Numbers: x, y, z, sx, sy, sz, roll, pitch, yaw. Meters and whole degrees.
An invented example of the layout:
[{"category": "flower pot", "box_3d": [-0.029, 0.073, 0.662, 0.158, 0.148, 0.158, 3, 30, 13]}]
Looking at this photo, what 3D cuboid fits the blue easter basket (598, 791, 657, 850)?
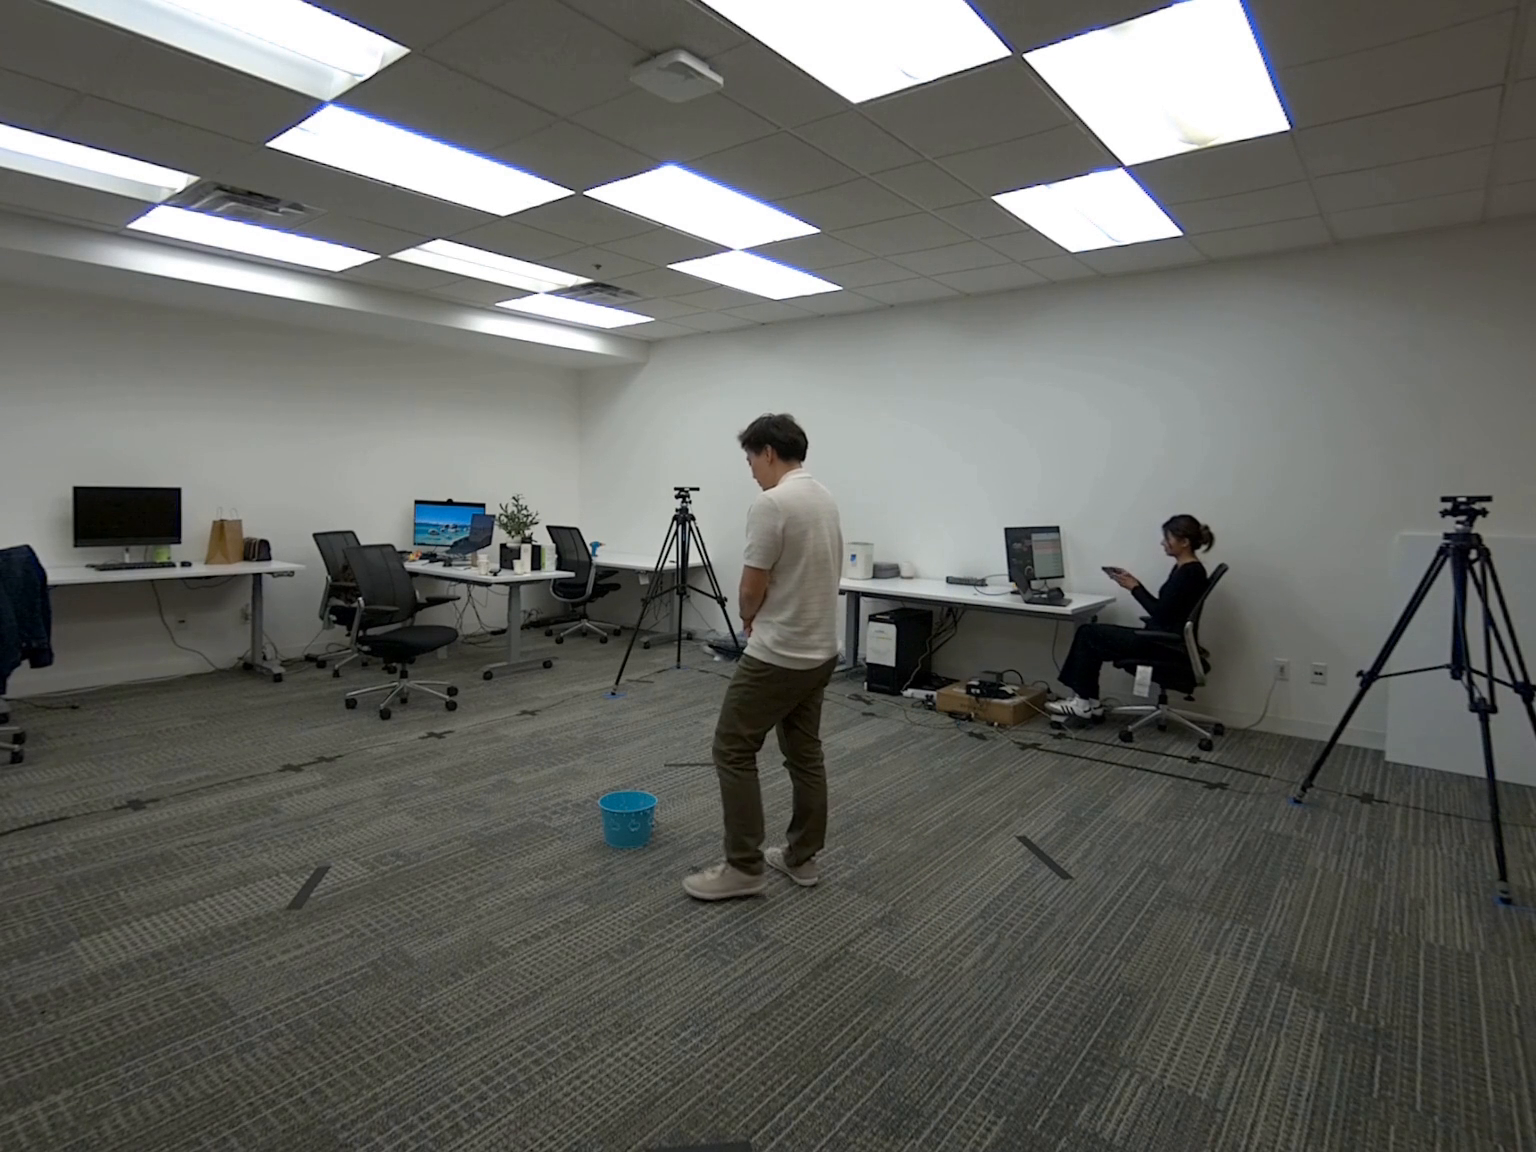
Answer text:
[{"category": "blue easter basket", "box_3d": [-0.559, 0.955, 3.362, 0.243, 0.155, 0.245, 1, 5, -2]}]
